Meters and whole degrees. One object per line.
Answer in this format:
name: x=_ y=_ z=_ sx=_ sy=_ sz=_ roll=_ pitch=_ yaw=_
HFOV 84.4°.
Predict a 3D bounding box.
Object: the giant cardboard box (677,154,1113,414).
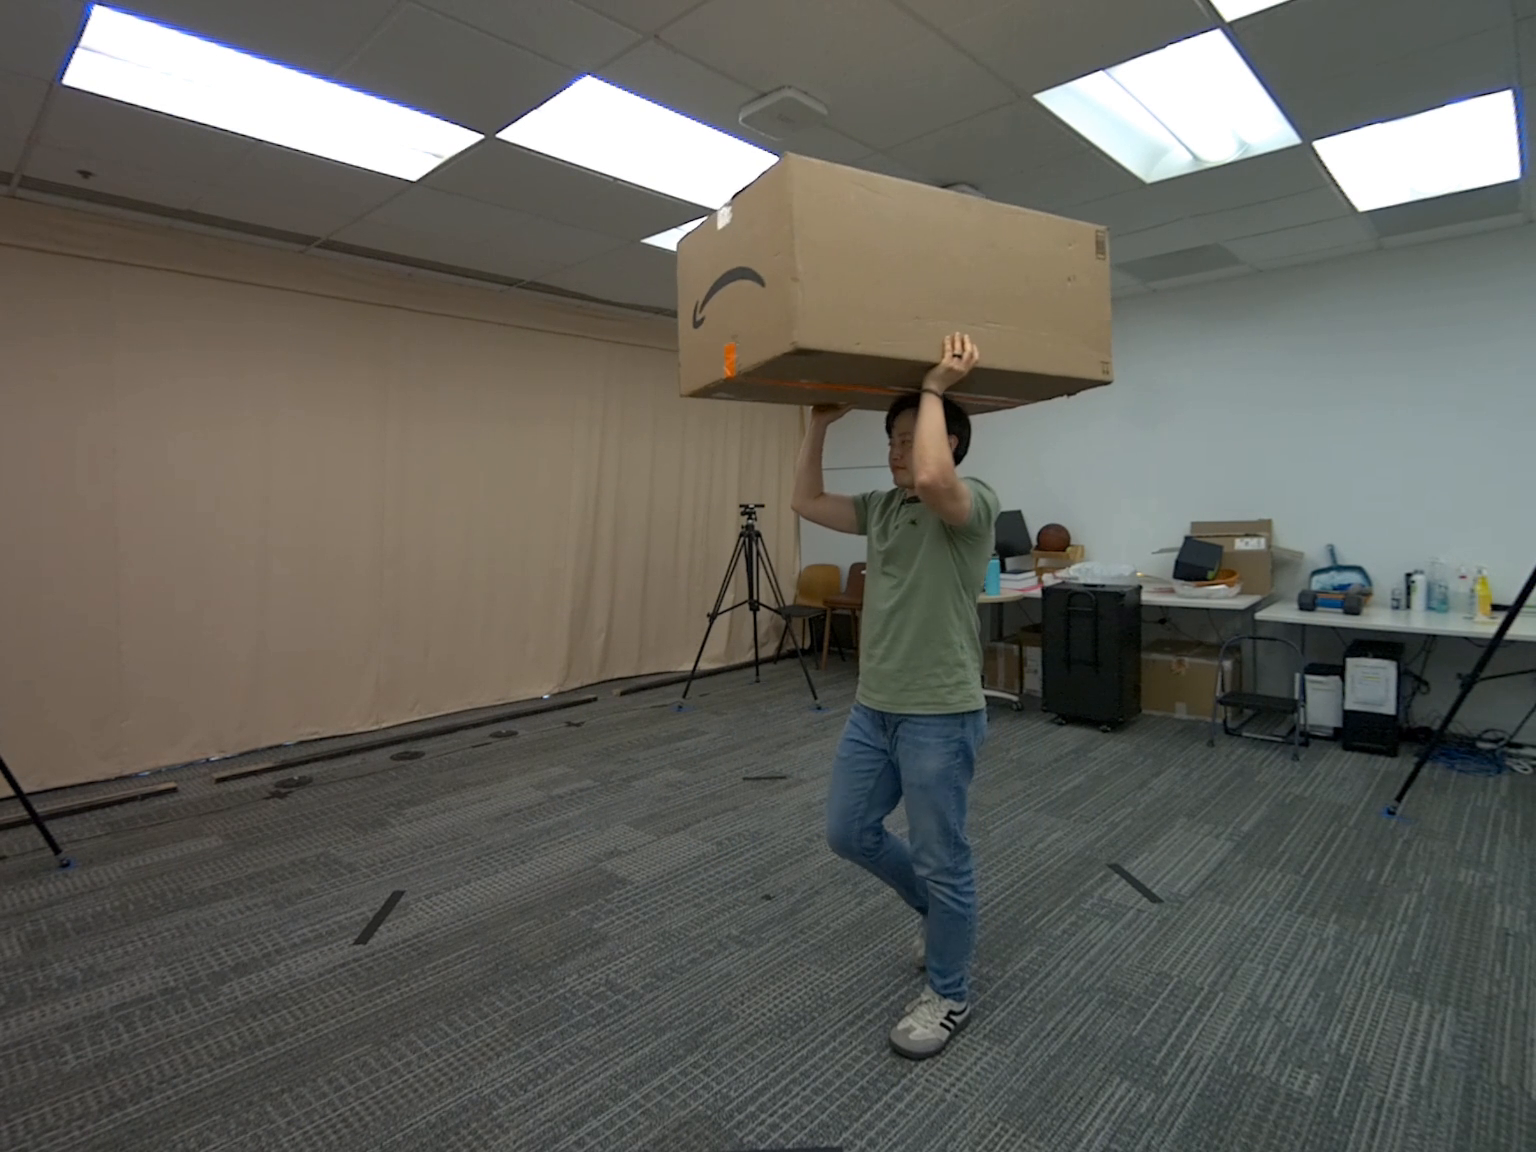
giant cardboard box: x=0.340 y=-0.704 z=2.271 sx=0.999 sy=0.426 sz=0.593 roll=-3 pitch=2 yaw=-29
